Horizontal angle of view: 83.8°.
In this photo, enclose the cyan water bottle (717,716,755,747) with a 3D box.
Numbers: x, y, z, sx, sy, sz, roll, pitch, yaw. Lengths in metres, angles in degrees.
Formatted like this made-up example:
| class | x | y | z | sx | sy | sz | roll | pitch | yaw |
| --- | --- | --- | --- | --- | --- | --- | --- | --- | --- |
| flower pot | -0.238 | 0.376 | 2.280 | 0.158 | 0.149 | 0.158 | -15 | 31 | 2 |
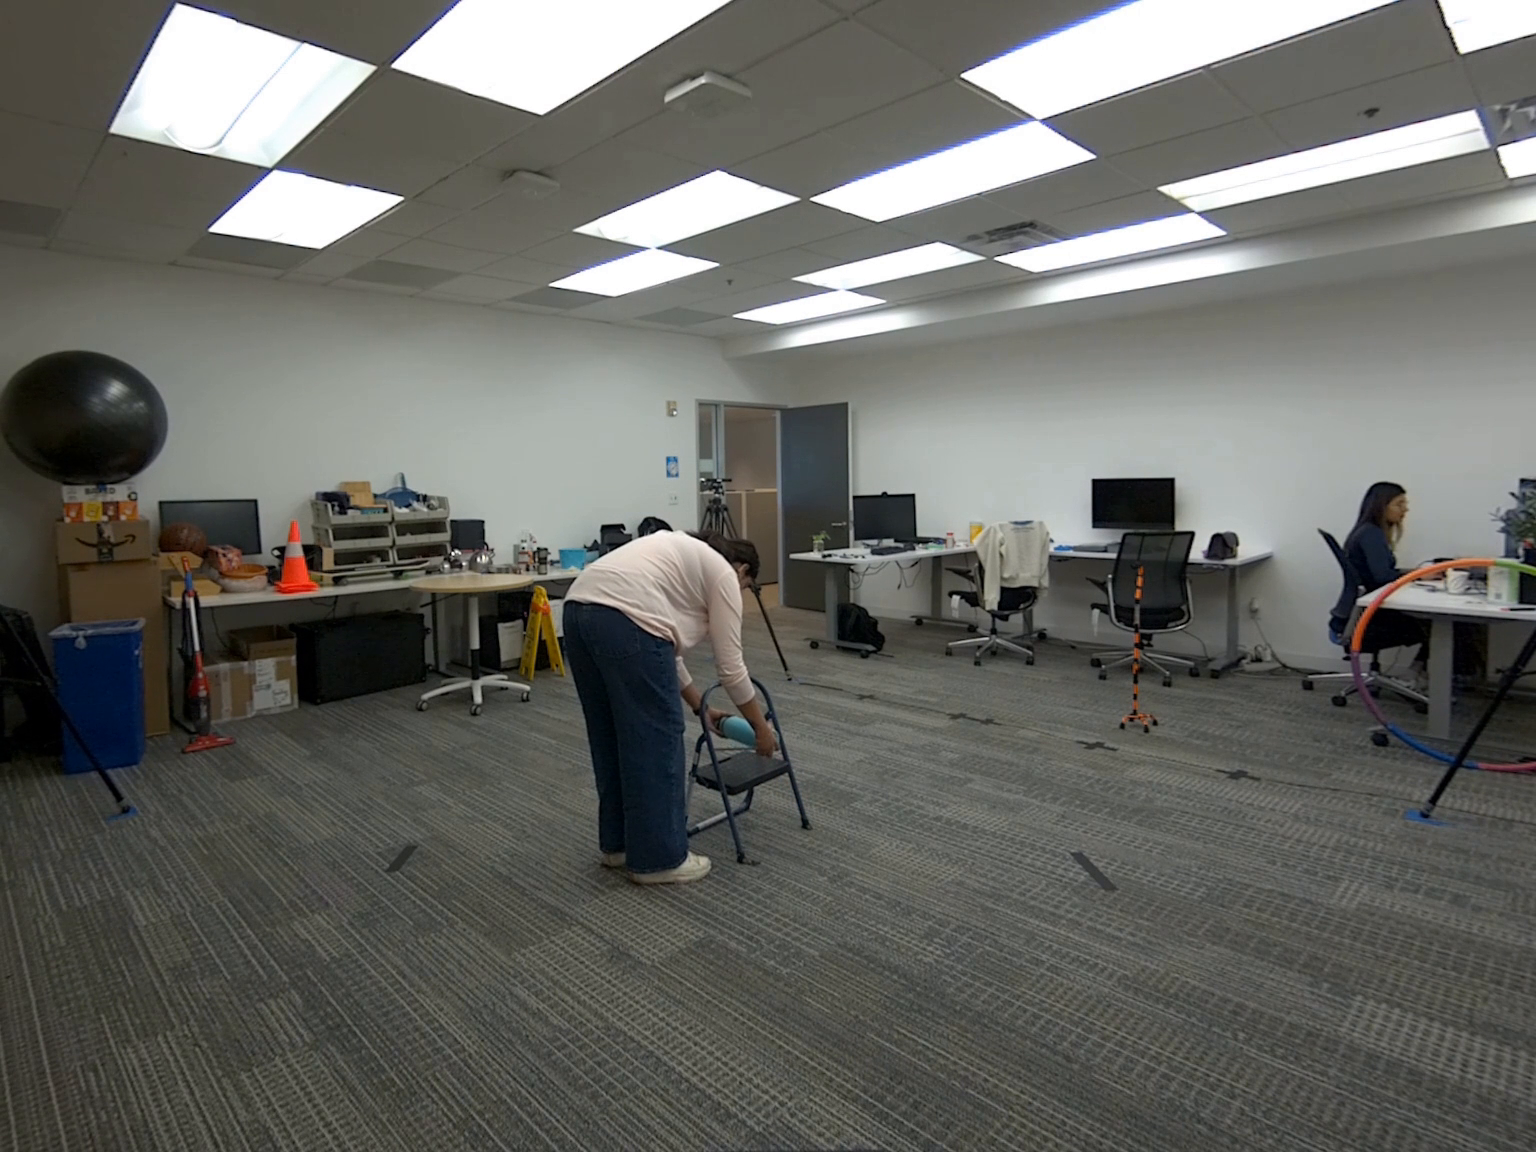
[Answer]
| class | x | y | z | sx | sy | sz | roll | pitch | yaw |
| --- | --- | --- | --- | --- | --- | --- | --- | --- | --- |
| cyan water bottle | -0.099 | 0.599 | 3.282 | 0.293 | 0.092 | 0.090 | 10 | 11 | 40 |
